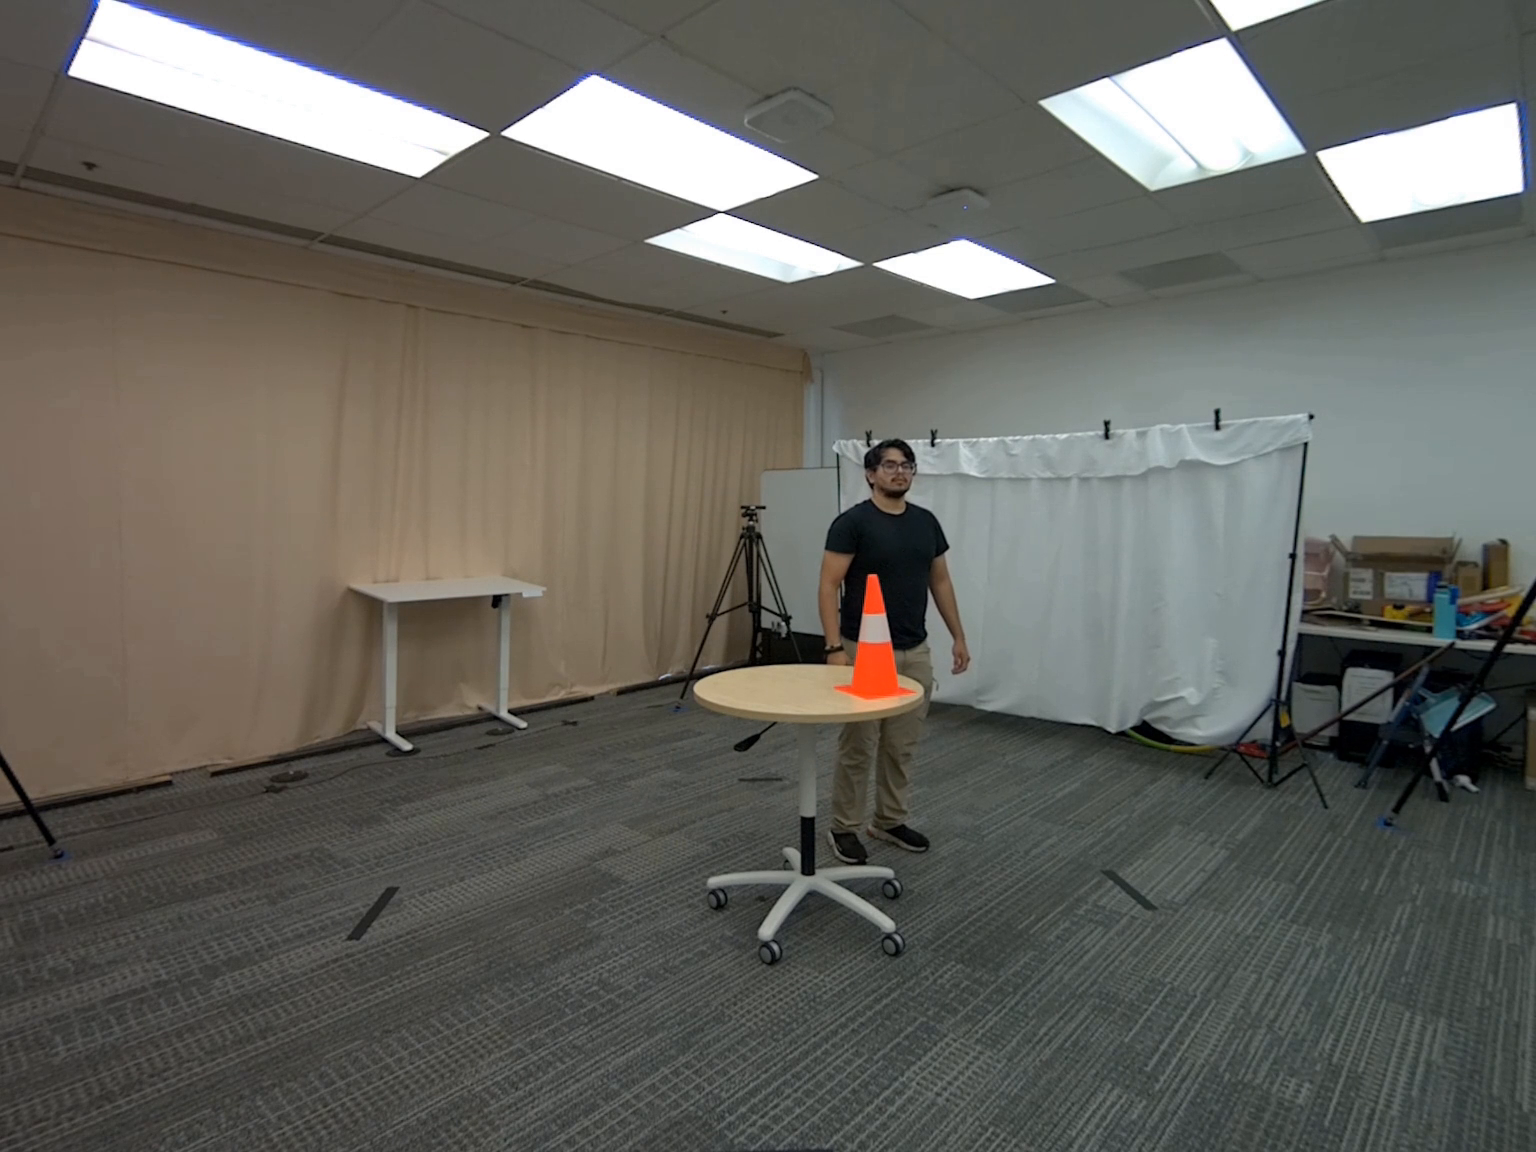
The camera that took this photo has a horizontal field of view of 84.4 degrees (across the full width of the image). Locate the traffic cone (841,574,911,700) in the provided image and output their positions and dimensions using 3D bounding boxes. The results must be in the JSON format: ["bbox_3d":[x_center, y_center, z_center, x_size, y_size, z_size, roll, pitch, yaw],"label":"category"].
[{"bbox_3d":[0.347,0.189,2.748,0.198,0.383,0.211,-3,3,-32],"label":"traffic cone"}]
